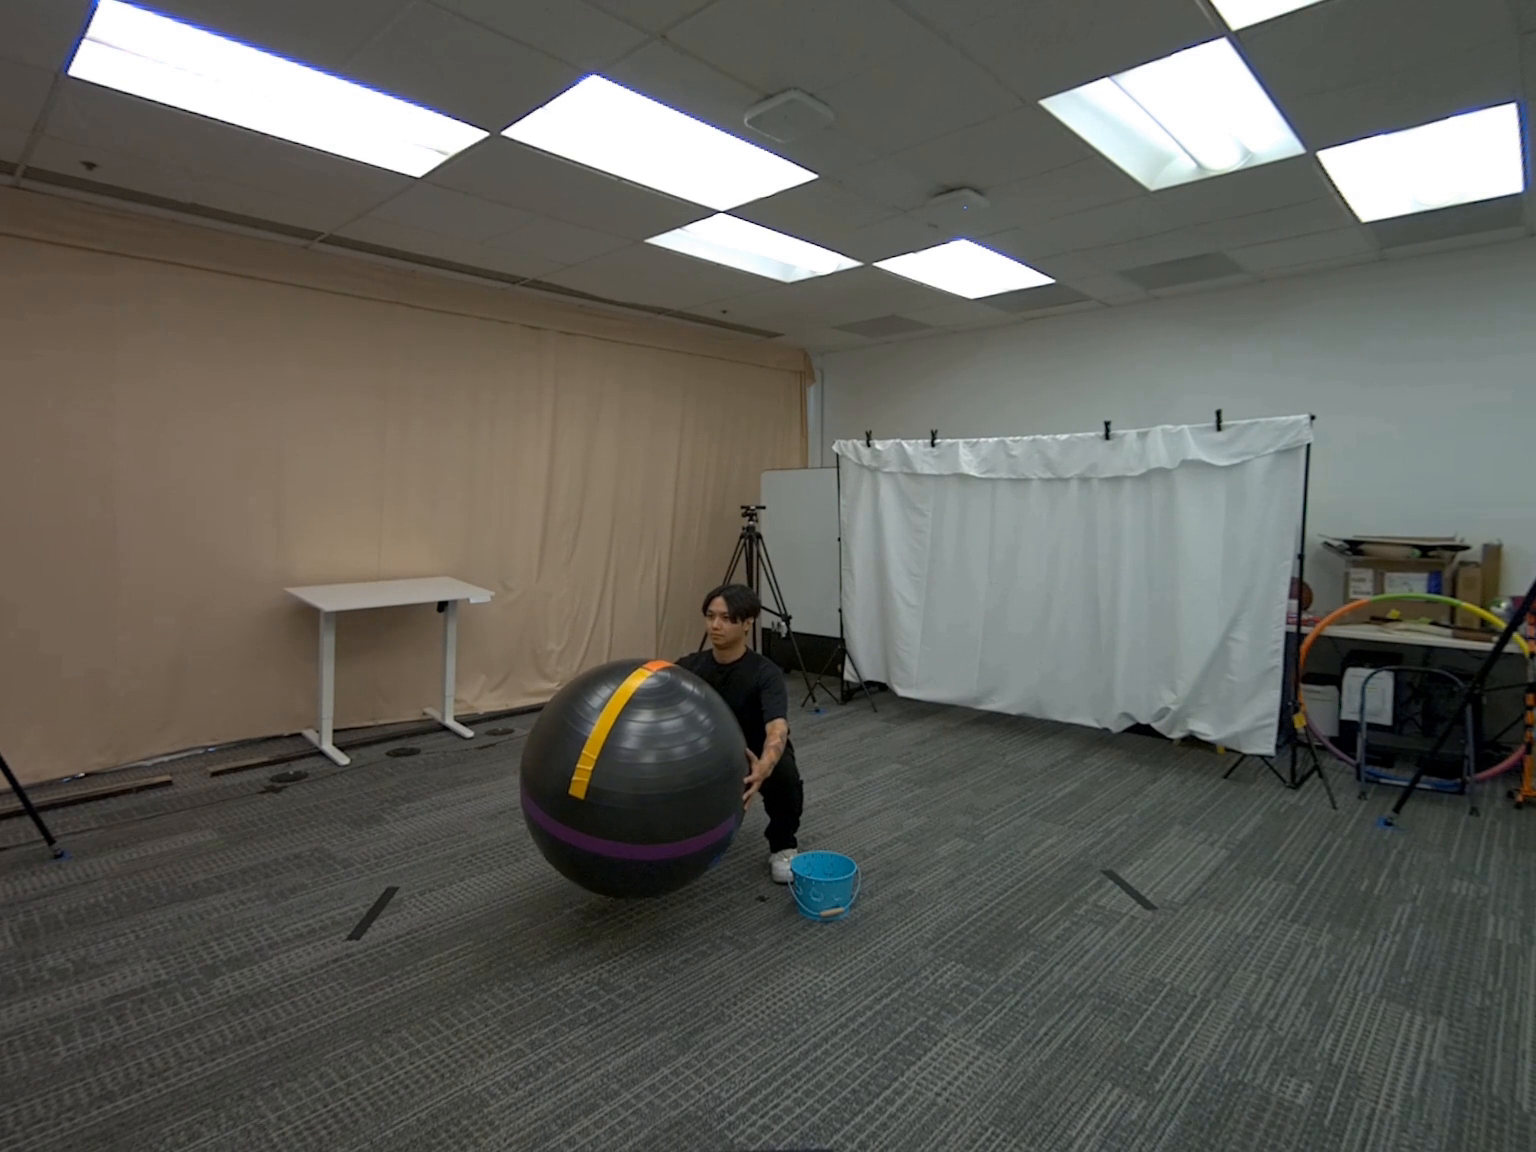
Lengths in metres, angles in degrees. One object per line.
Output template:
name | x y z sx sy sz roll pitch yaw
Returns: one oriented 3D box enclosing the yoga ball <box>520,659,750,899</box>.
yoga ball | -0.446 0.666 2.774 0.757 0.756 0.760 0 4 -2
